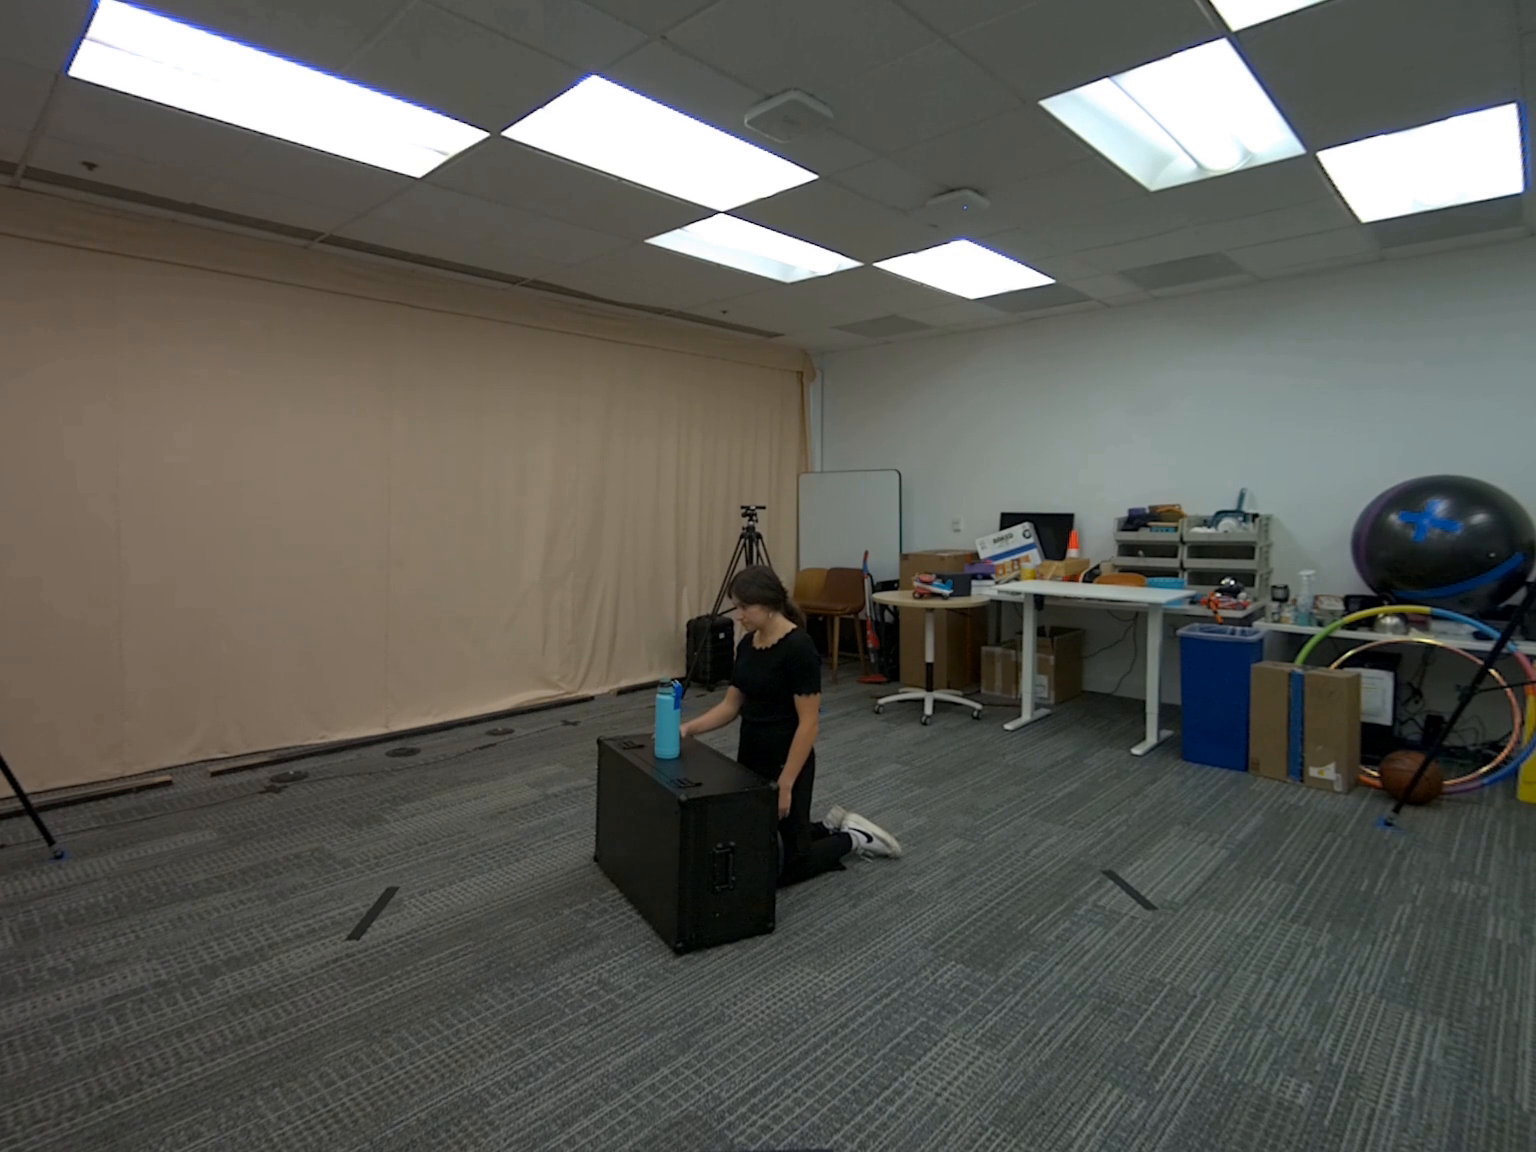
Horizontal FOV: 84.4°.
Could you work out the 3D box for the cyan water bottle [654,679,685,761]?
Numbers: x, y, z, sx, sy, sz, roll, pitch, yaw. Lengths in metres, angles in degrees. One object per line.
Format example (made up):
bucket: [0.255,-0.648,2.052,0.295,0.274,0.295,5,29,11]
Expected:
cyan water bottle: [-0.362,0.512,3.058,0.092,0.283,0.092,1,2,-2]
